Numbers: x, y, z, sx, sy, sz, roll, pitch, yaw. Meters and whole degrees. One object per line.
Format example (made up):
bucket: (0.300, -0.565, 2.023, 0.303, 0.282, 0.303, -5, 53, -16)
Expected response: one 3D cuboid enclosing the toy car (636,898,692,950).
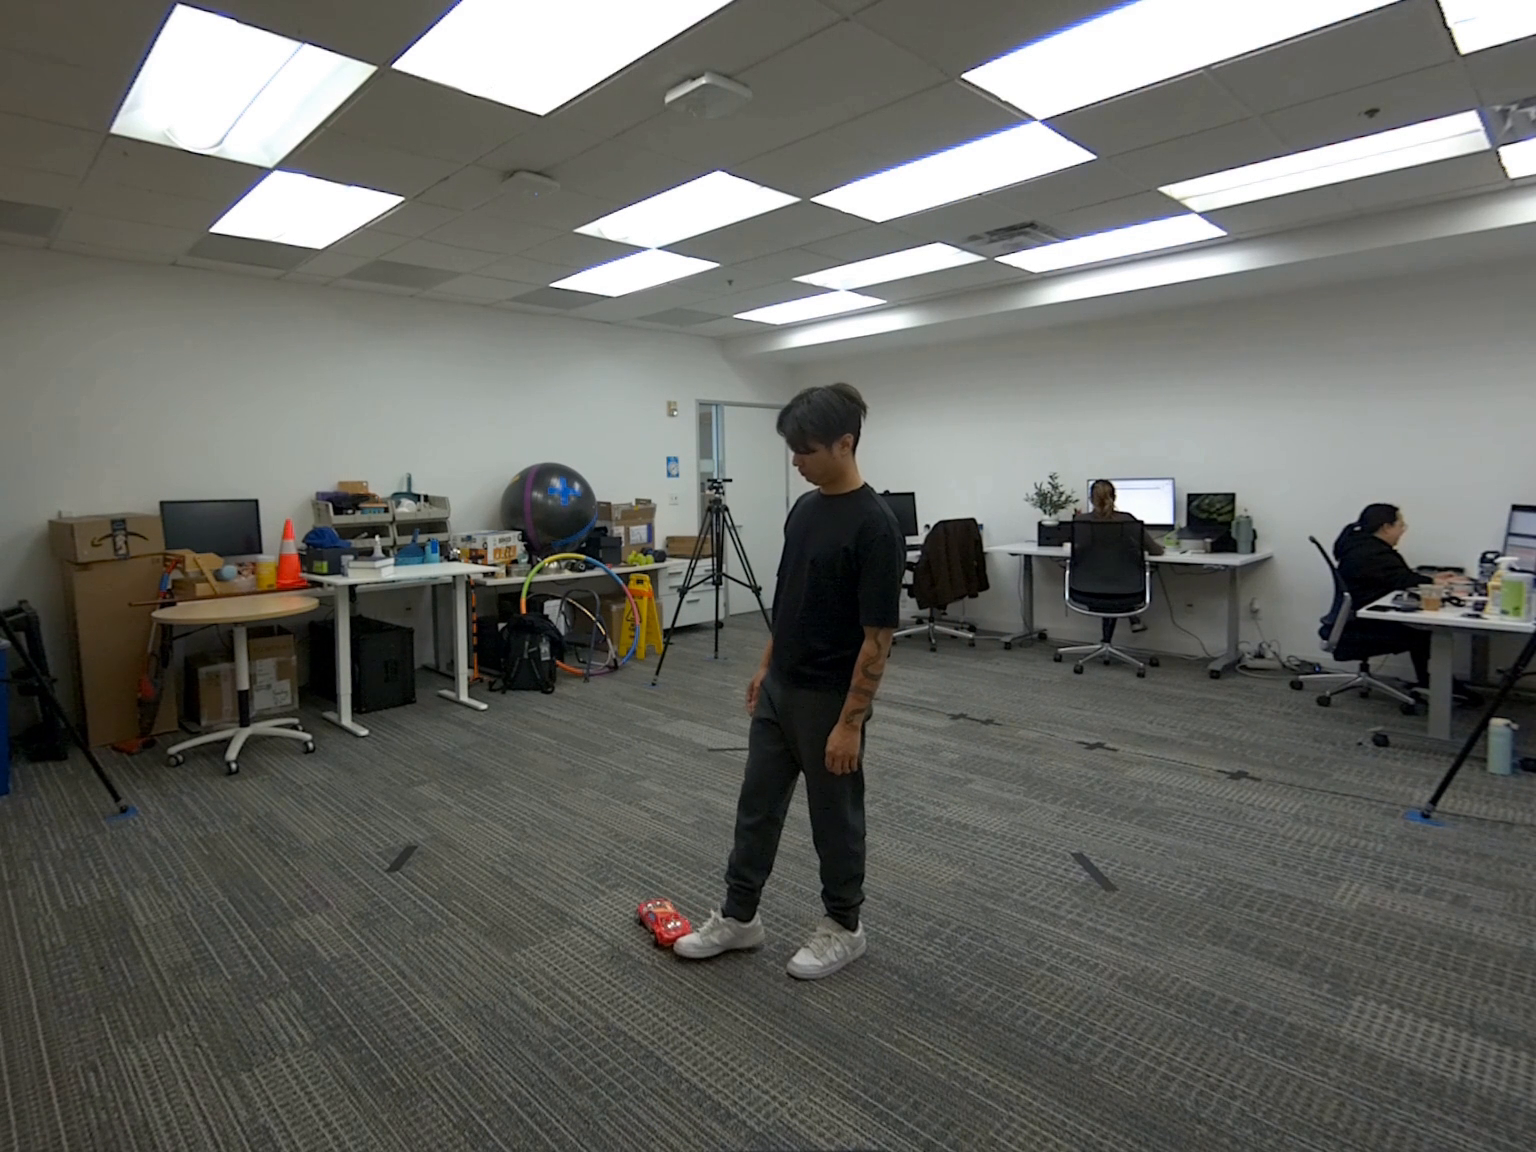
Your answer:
toy car: (-0.314, 1.075, 2.638, 0.127, 0.083, 0.259, -5, -3, -27)
